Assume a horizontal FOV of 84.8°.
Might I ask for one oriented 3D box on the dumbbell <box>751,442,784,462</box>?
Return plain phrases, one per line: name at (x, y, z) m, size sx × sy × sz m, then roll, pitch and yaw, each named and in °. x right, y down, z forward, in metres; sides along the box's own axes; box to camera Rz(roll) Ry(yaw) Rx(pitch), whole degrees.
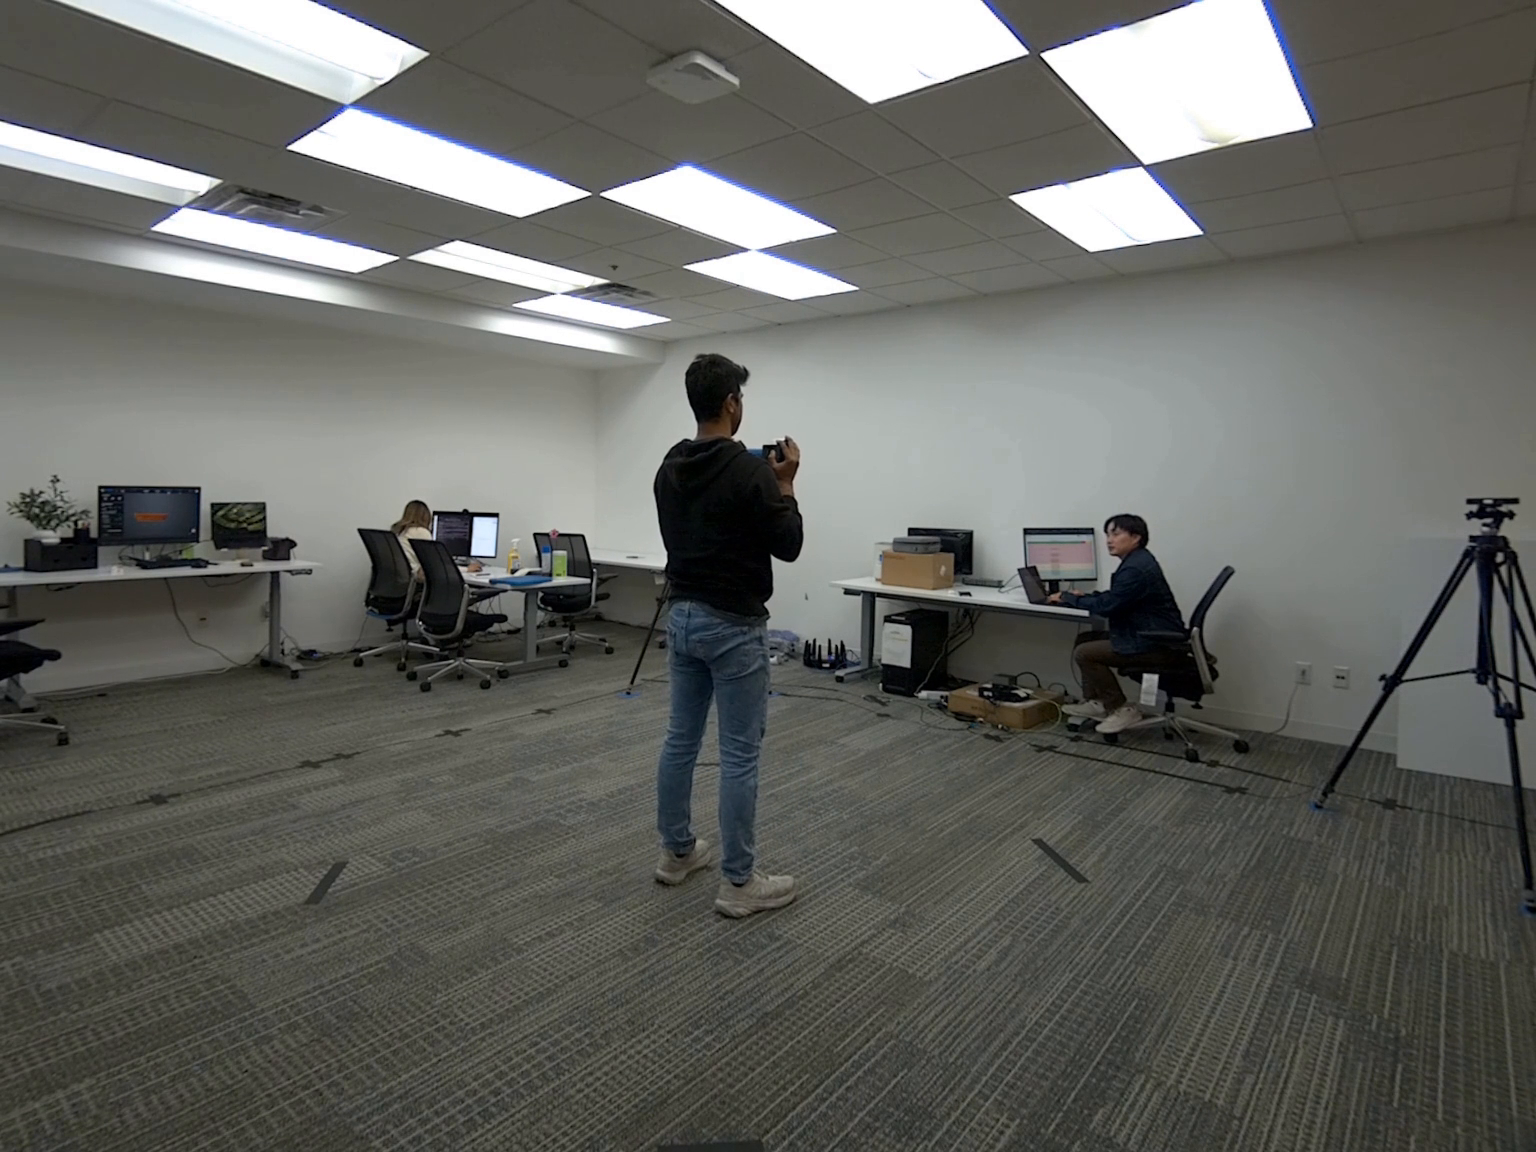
dumbbell at (-0.058, -0.427, 3.035) m, size 0.304 × 0.123 × 0.105 m, roll 6°, pitch 0°, yaw 41°
